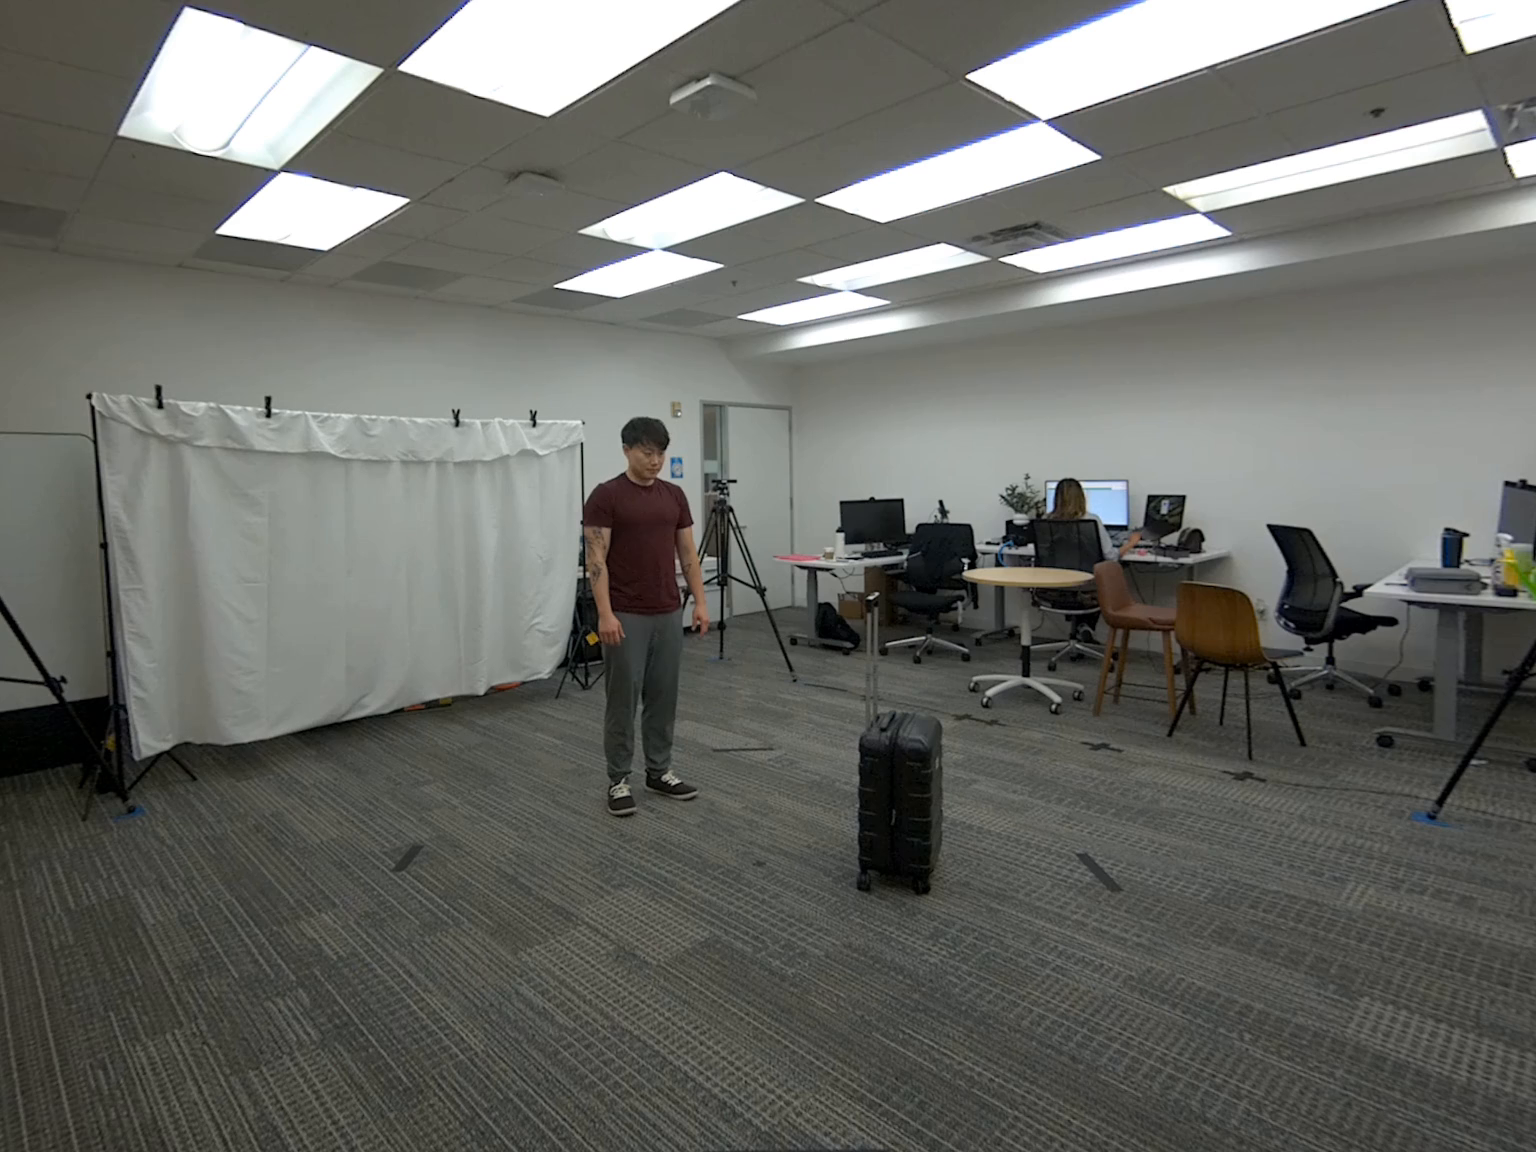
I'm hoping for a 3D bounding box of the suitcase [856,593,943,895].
[{"bbox_3d":[0.477,0.573,2.992,0.262,0.975,0.378,4,5,18],"label":"suitcase"}]
